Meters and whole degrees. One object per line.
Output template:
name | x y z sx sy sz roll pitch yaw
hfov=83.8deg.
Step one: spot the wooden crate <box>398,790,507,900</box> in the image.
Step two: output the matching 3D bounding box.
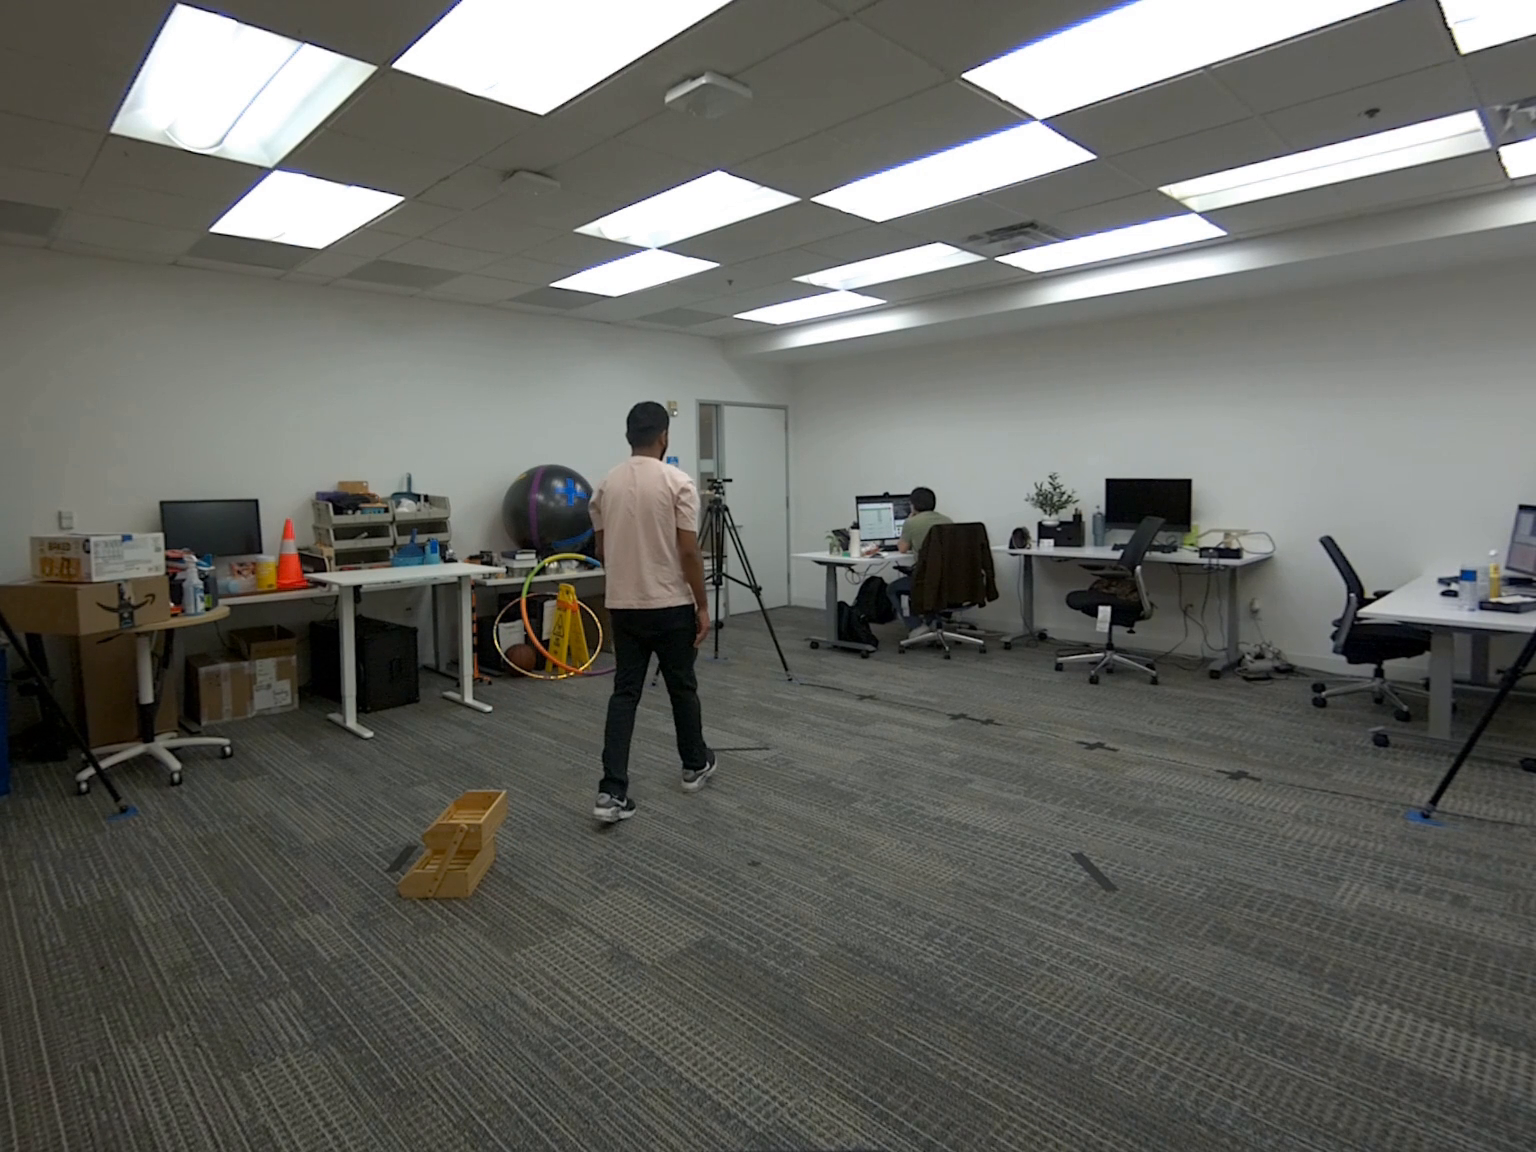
wooden crate | -1.121 0.944 3.038 0.302 0.272 0.326 -2 6 1
